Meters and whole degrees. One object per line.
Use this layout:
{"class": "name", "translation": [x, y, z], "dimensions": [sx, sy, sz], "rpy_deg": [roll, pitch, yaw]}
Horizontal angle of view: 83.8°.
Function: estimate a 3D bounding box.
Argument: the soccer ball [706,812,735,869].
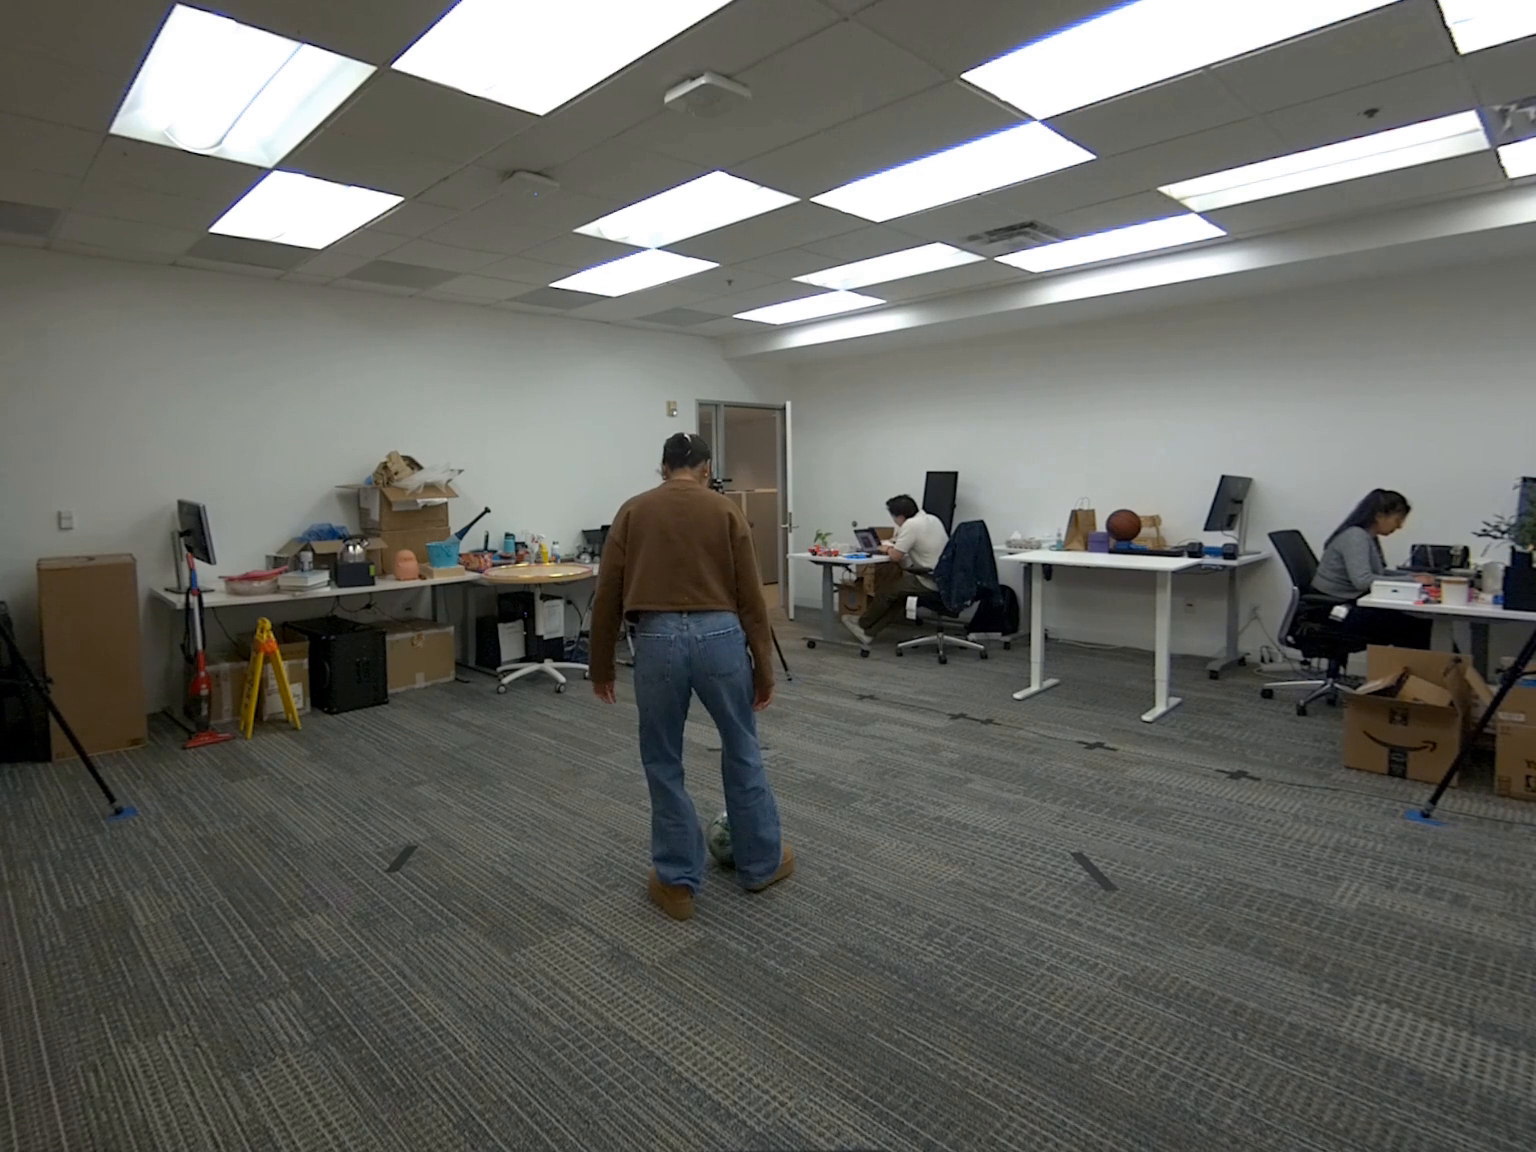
{"class": "soccer ball", "translation": [-0.130, 0.954, 3.112], "dimensions": [0.187, 0.187, 0.188], "rpy_deg": [-1, 5, -2]}
